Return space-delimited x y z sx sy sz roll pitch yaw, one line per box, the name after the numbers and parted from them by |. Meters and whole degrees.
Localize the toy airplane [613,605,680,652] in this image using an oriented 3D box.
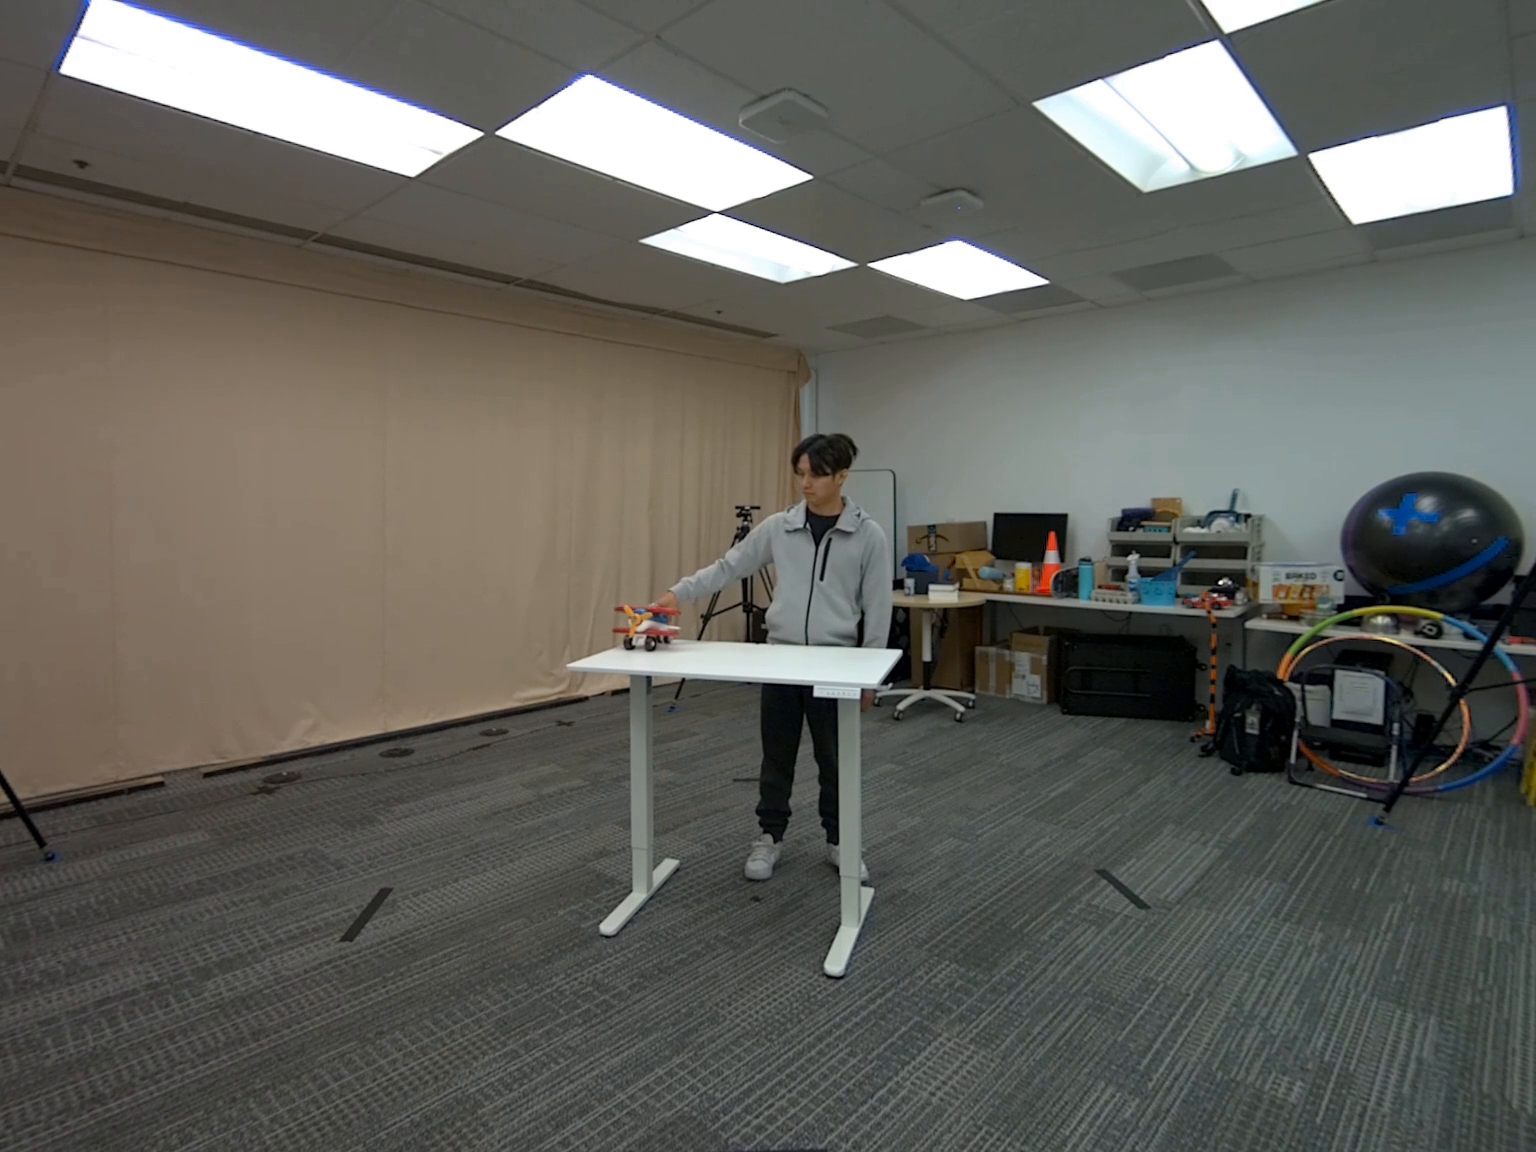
-0.451 0.184 3.080 0.250 0.156 0.261 1 5 -6 | toy airplane
